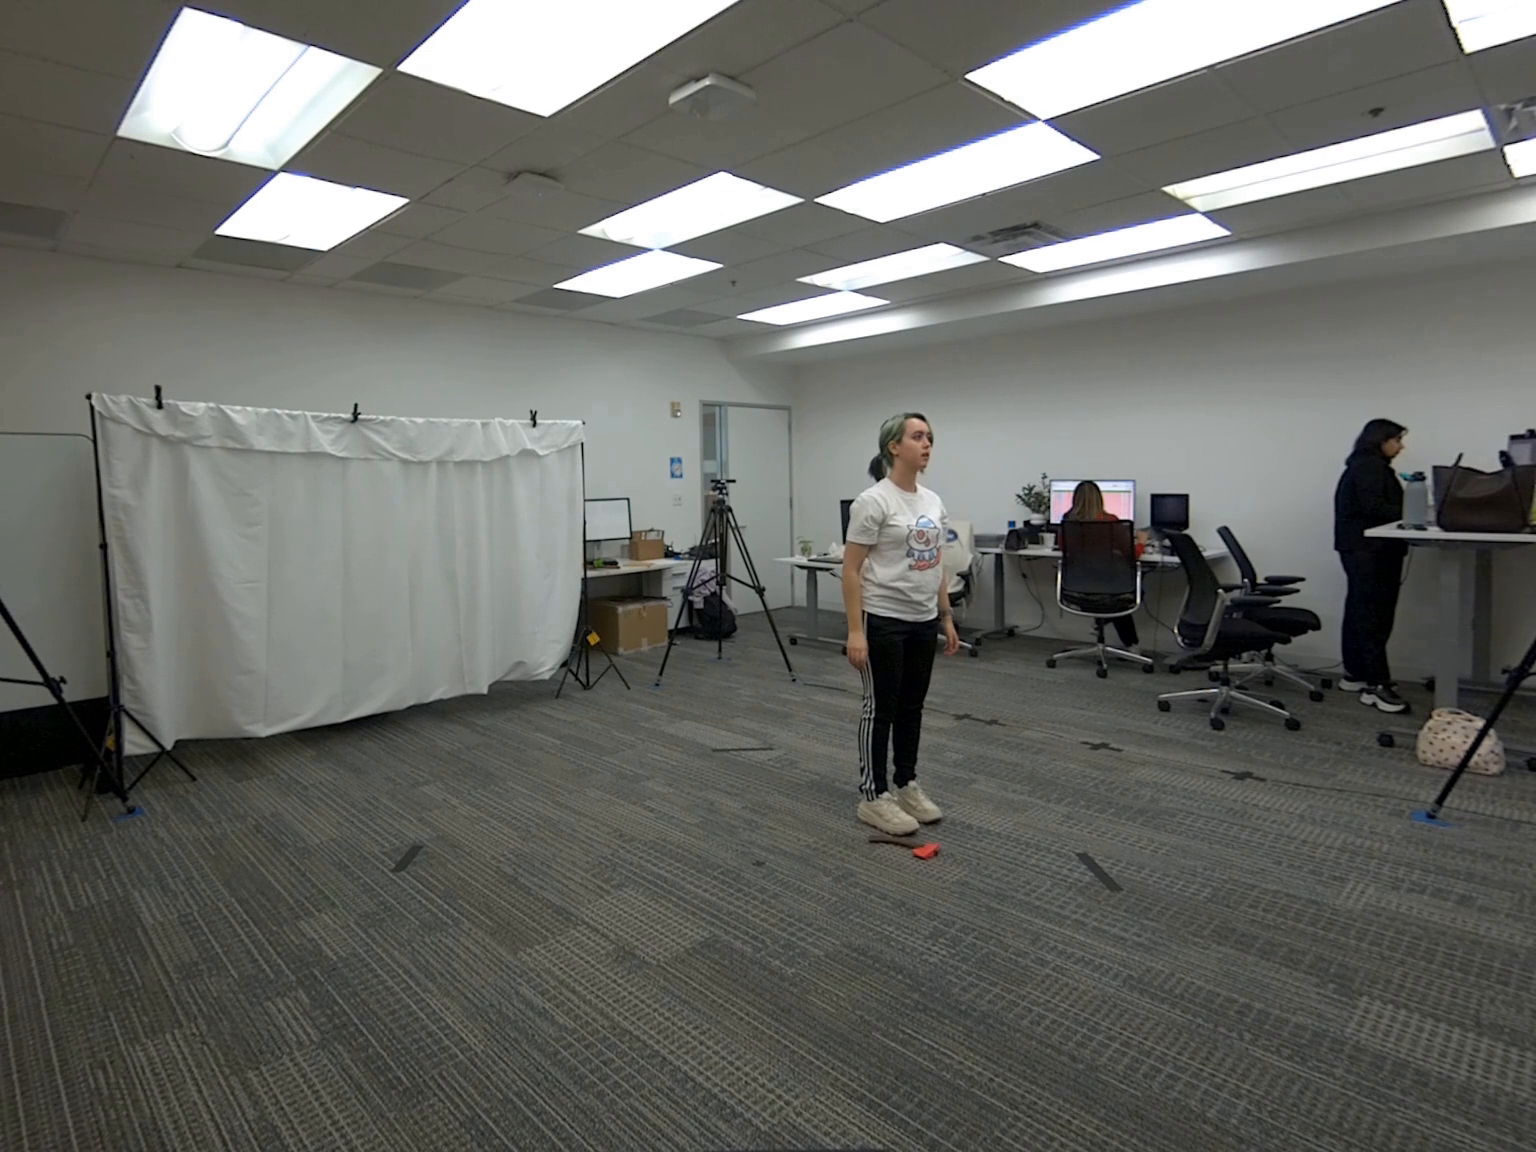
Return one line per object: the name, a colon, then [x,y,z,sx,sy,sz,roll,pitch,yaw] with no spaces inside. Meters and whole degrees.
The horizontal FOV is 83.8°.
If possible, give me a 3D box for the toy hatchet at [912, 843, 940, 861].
toy hatchet: [0.502,1.014,3.199,0.275,0.029,0.129,-2,7,18]
